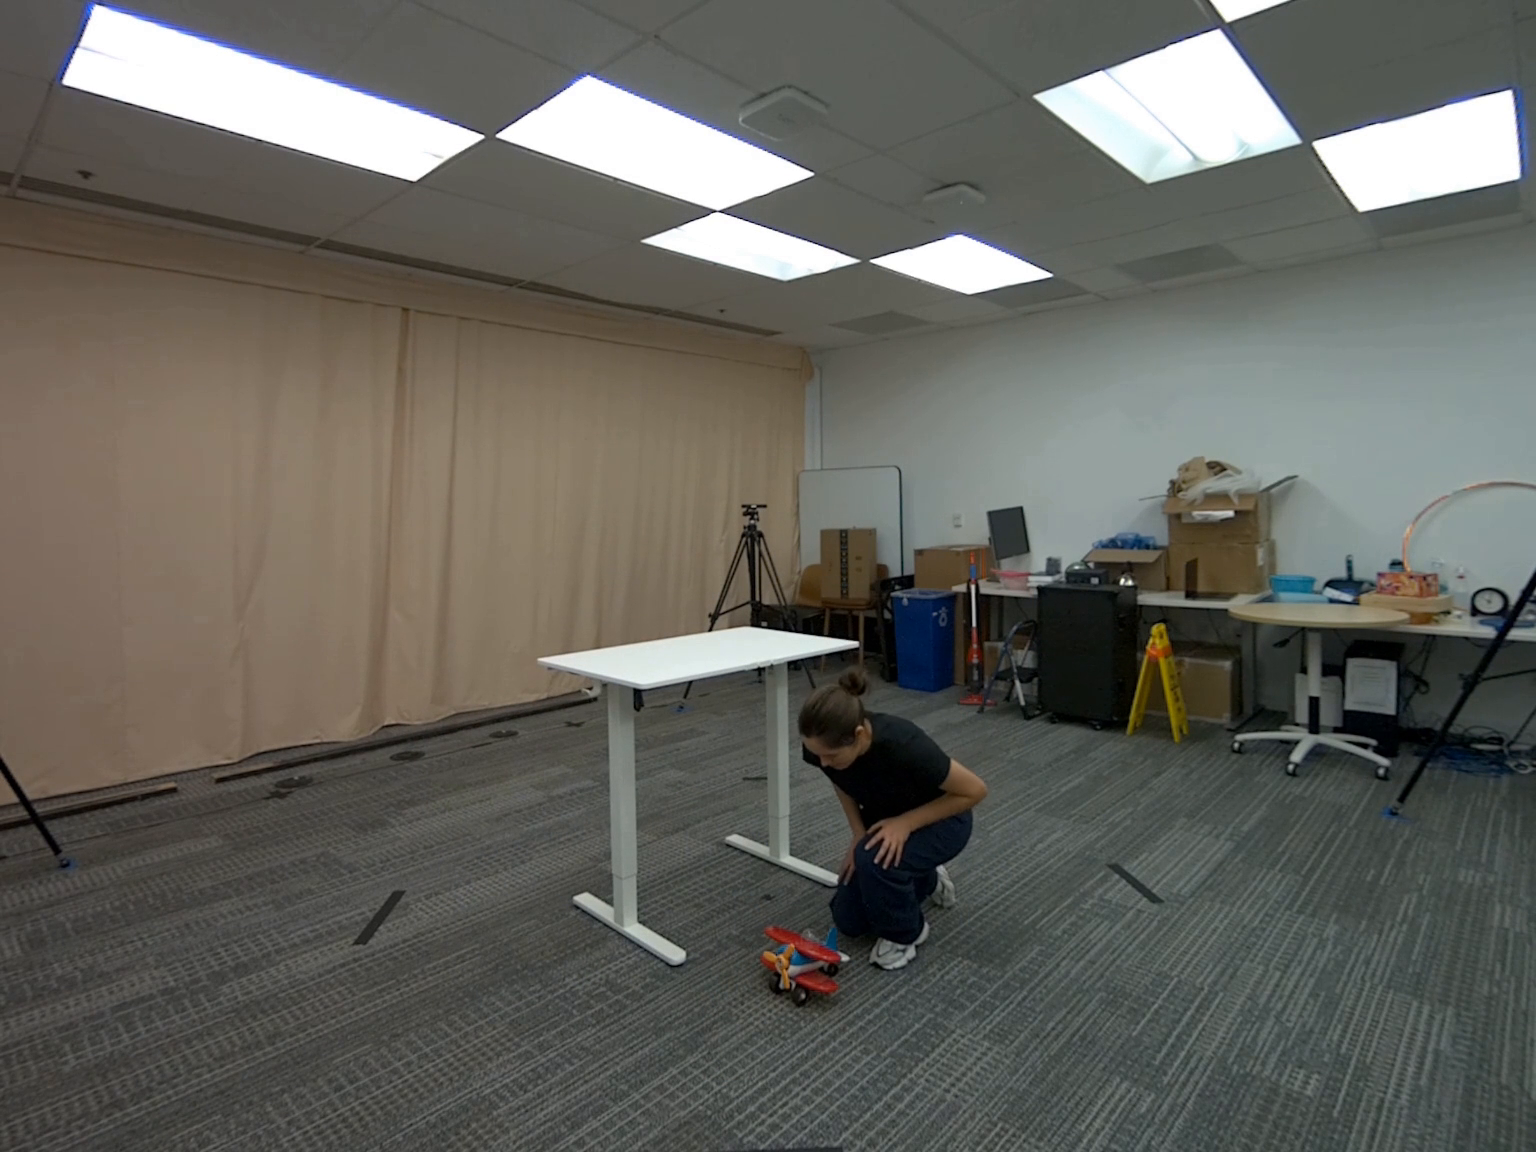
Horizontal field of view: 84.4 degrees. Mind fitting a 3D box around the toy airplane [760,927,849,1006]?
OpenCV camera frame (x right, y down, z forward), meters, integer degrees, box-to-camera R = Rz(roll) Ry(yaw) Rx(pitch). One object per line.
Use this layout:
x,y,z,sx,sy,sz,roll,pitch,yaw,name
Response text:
0.120,1.111,2.441,0.255,0.156,0.255,0,5,15,toy airplane
